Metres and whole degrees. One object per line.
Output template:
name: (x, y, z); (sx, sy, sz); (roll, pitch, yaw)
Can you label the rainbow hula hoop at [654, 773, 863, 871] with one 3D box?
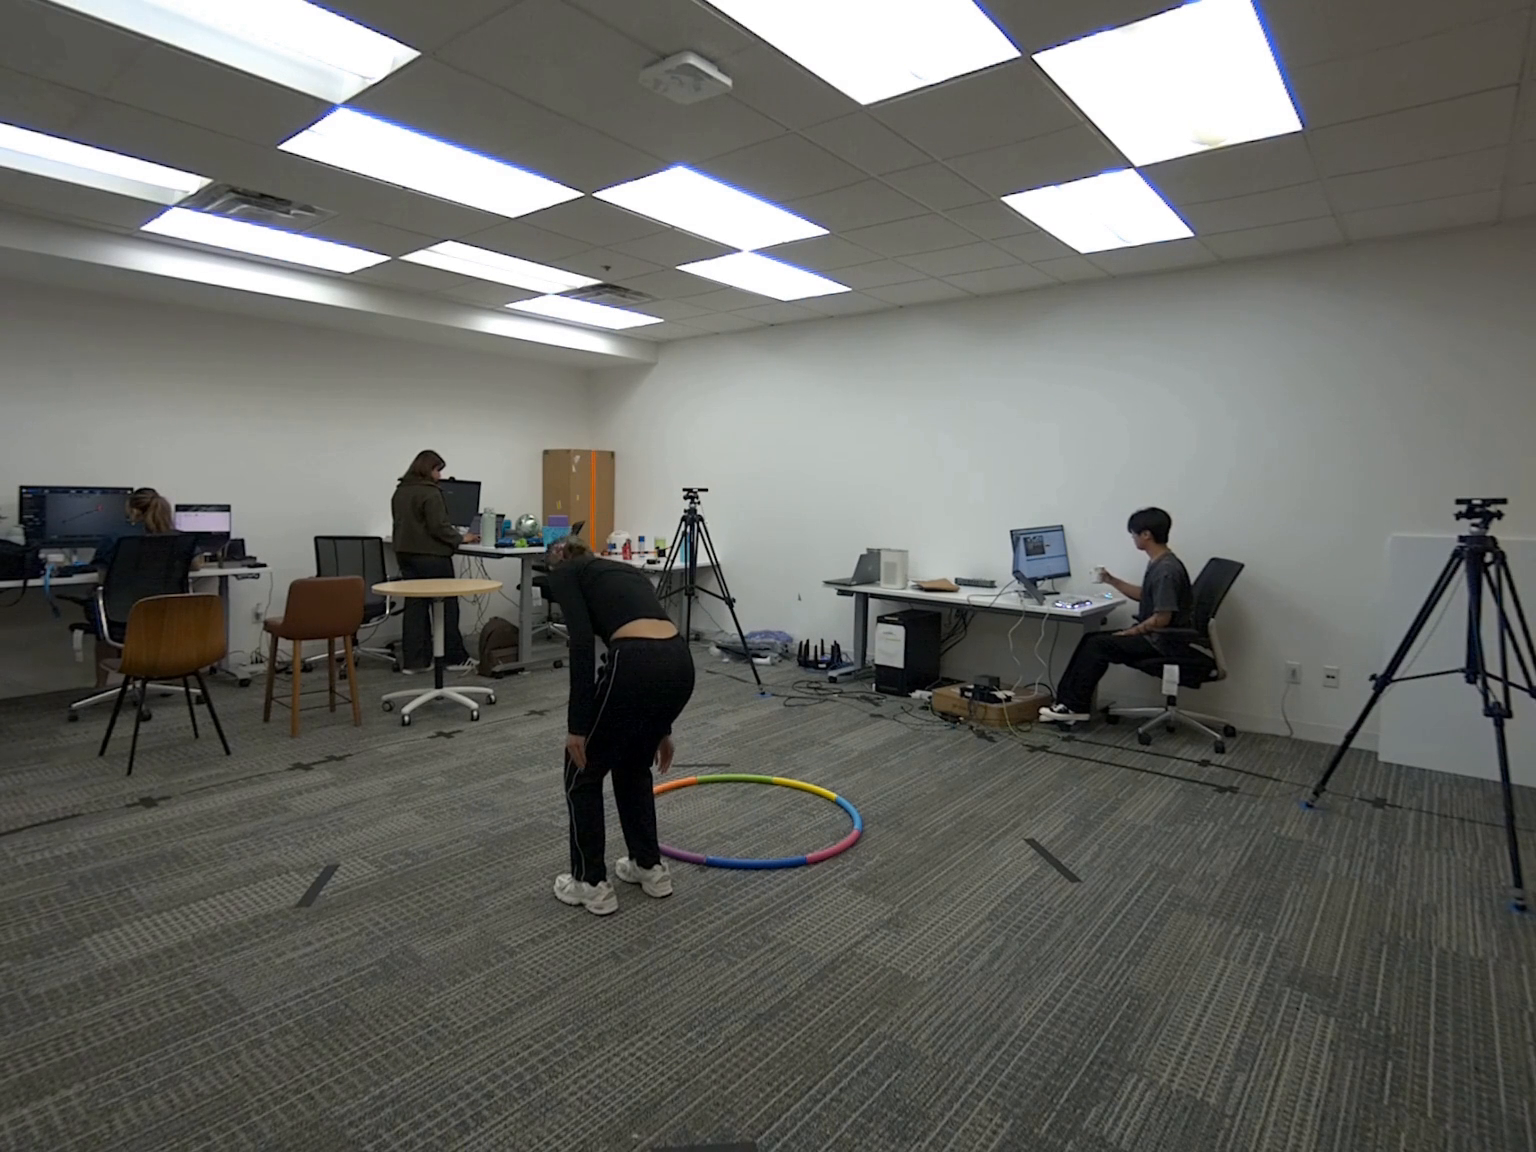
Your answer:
rainbow hula hoop: (-0.115, 0.996, 3.589); (0.978, 0.035, 0.984); (1, 6, -2)
